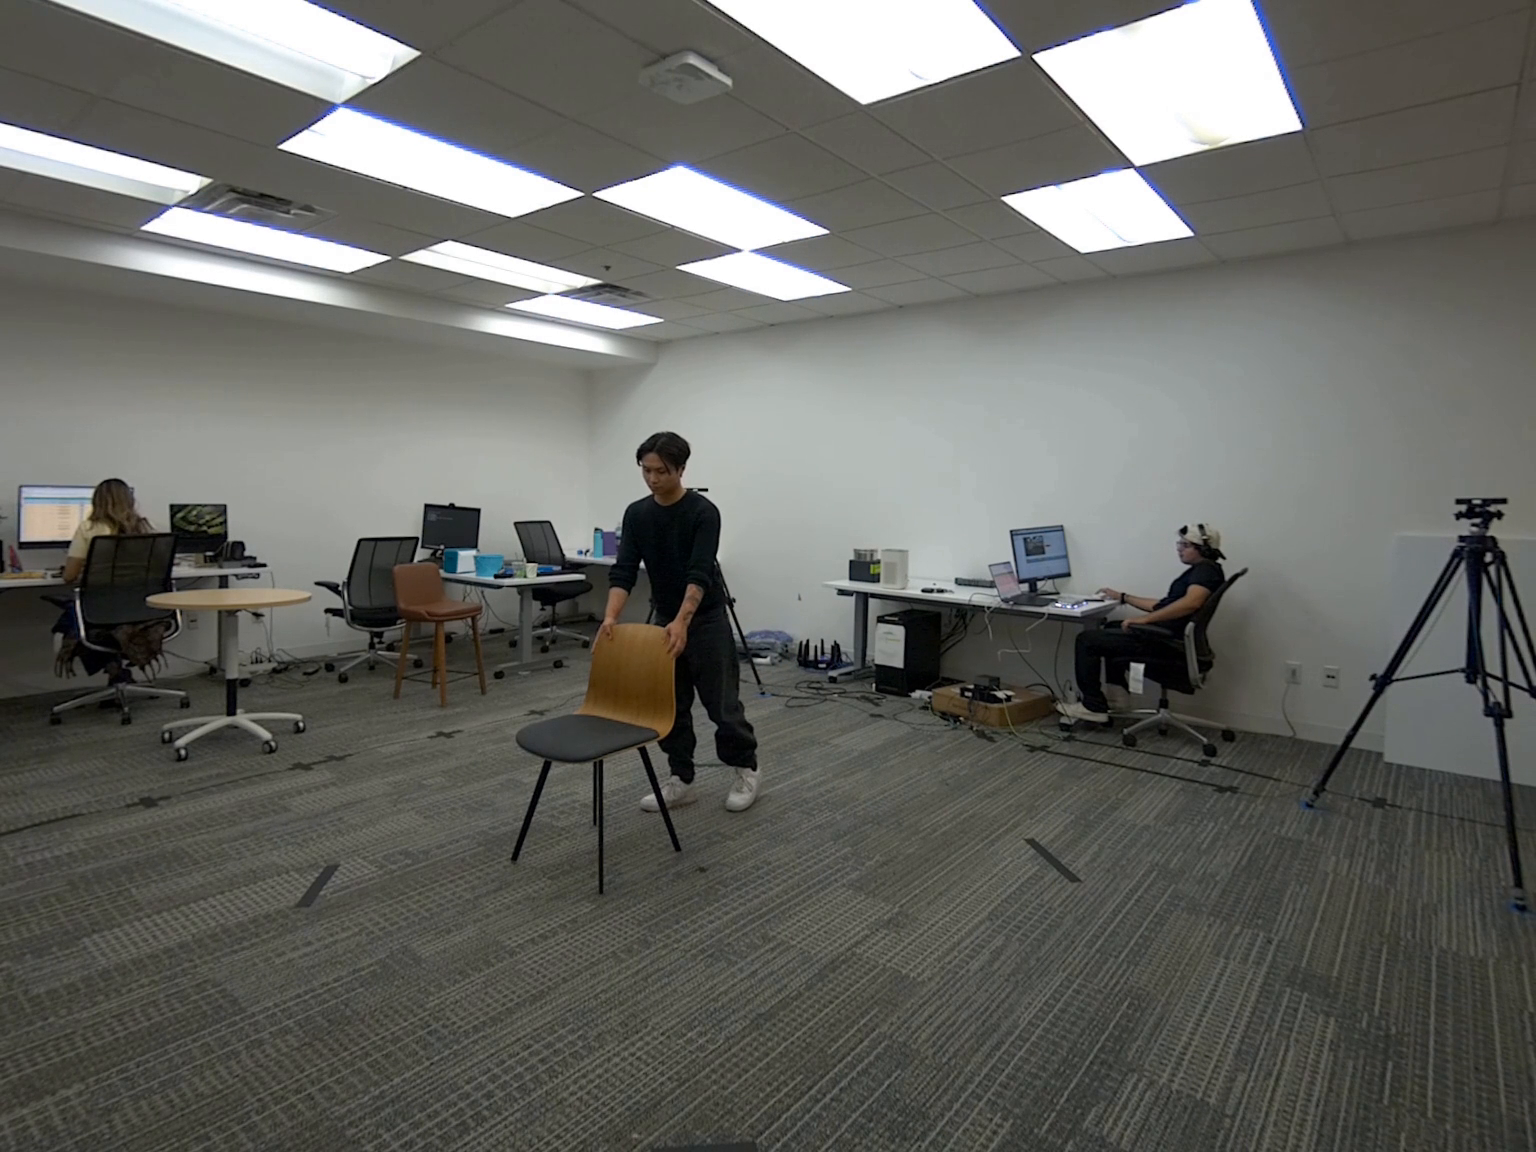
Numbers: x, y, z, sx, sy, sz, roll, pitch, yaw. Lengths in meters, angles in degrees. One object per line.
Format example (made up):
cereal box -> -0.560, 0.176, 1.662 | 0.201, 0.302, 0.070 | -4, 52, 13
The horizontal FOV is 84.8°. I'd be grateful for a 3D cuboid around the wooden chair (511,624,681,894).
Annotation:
wooden chair -> -0.645, 0.624, 3.172 | 0.493, 0.878, 0.507 | 3, -1, 33
